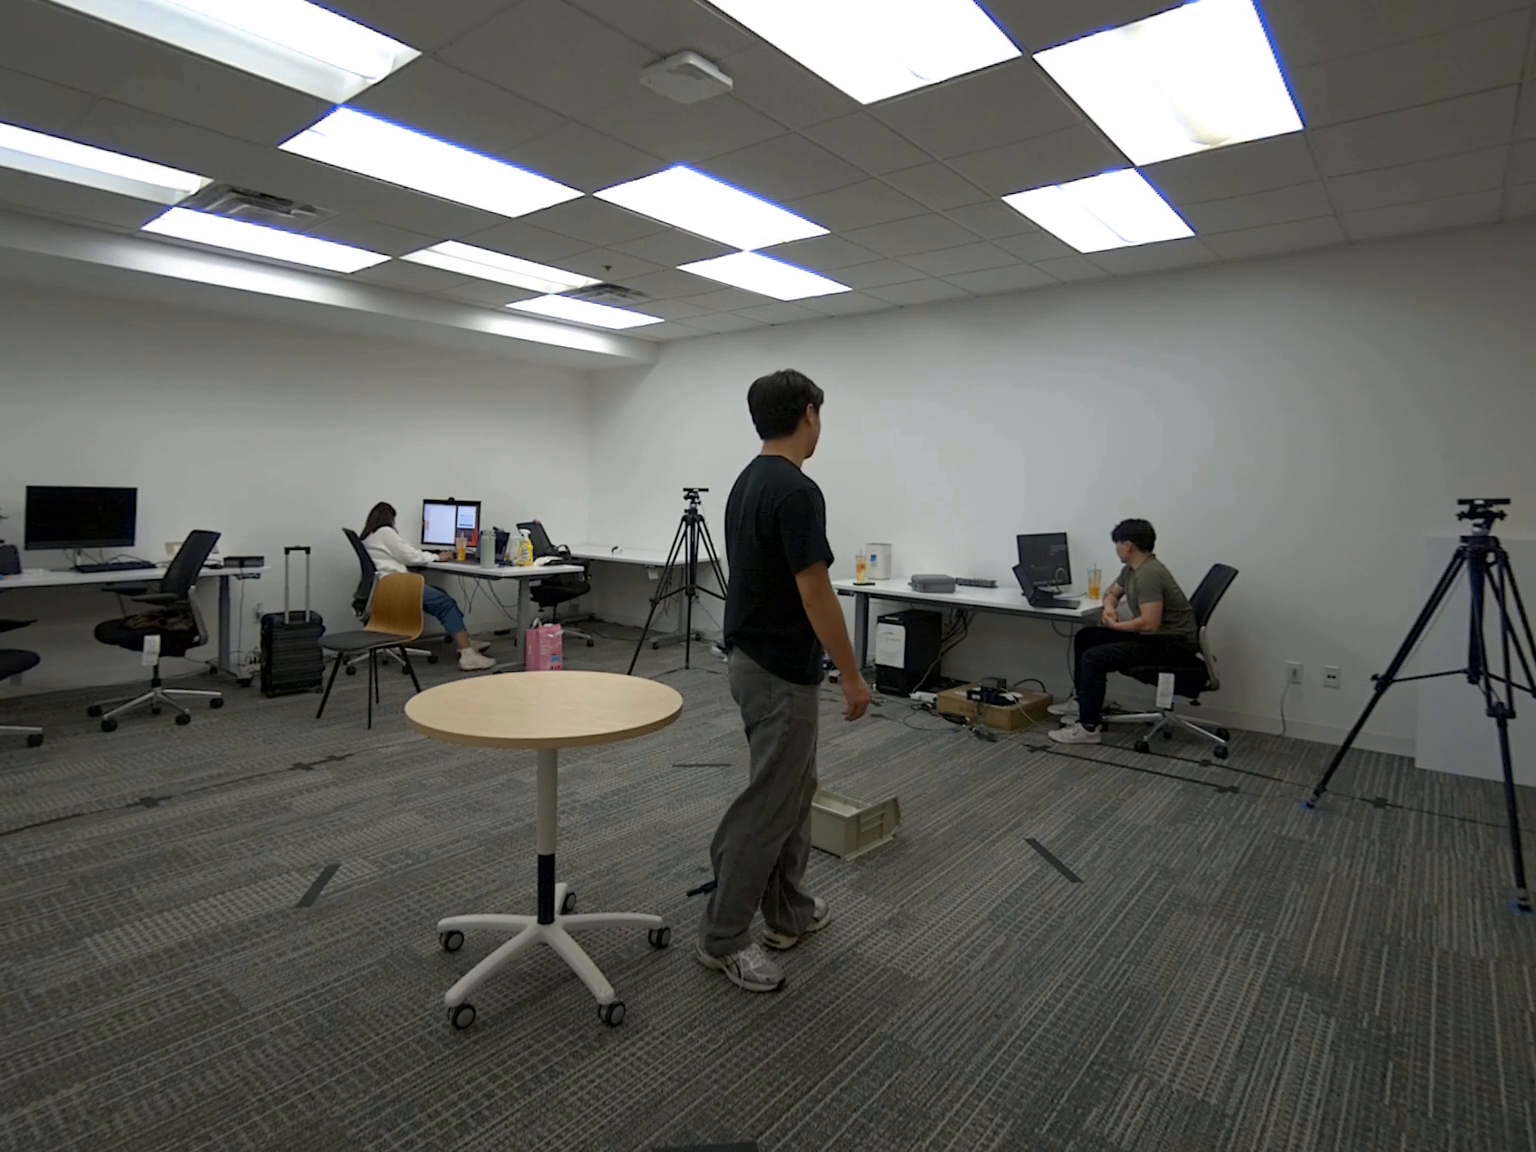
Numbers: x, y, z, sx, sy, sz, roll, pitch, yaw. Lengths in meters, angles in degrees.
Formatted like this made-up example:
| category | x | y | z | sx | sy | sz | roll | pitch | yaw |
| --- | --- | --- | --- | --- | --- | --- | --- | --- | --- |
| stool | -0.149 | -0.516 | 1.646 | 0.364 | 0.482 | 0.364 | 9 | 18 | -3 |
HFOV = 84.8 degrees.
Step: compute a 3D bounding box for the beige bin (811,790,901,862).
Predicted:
| category | x | y | z | sx | sy | sz | roll | pitch | yaw |
| --- | --- | --- | --- | --- | --- | --- | --- | --- | --- |
| beige bin | 0.254 | 0.954 | 3.460 | 0.437 | 0.188 | 0.366 | 6 | 8 | 42 |
